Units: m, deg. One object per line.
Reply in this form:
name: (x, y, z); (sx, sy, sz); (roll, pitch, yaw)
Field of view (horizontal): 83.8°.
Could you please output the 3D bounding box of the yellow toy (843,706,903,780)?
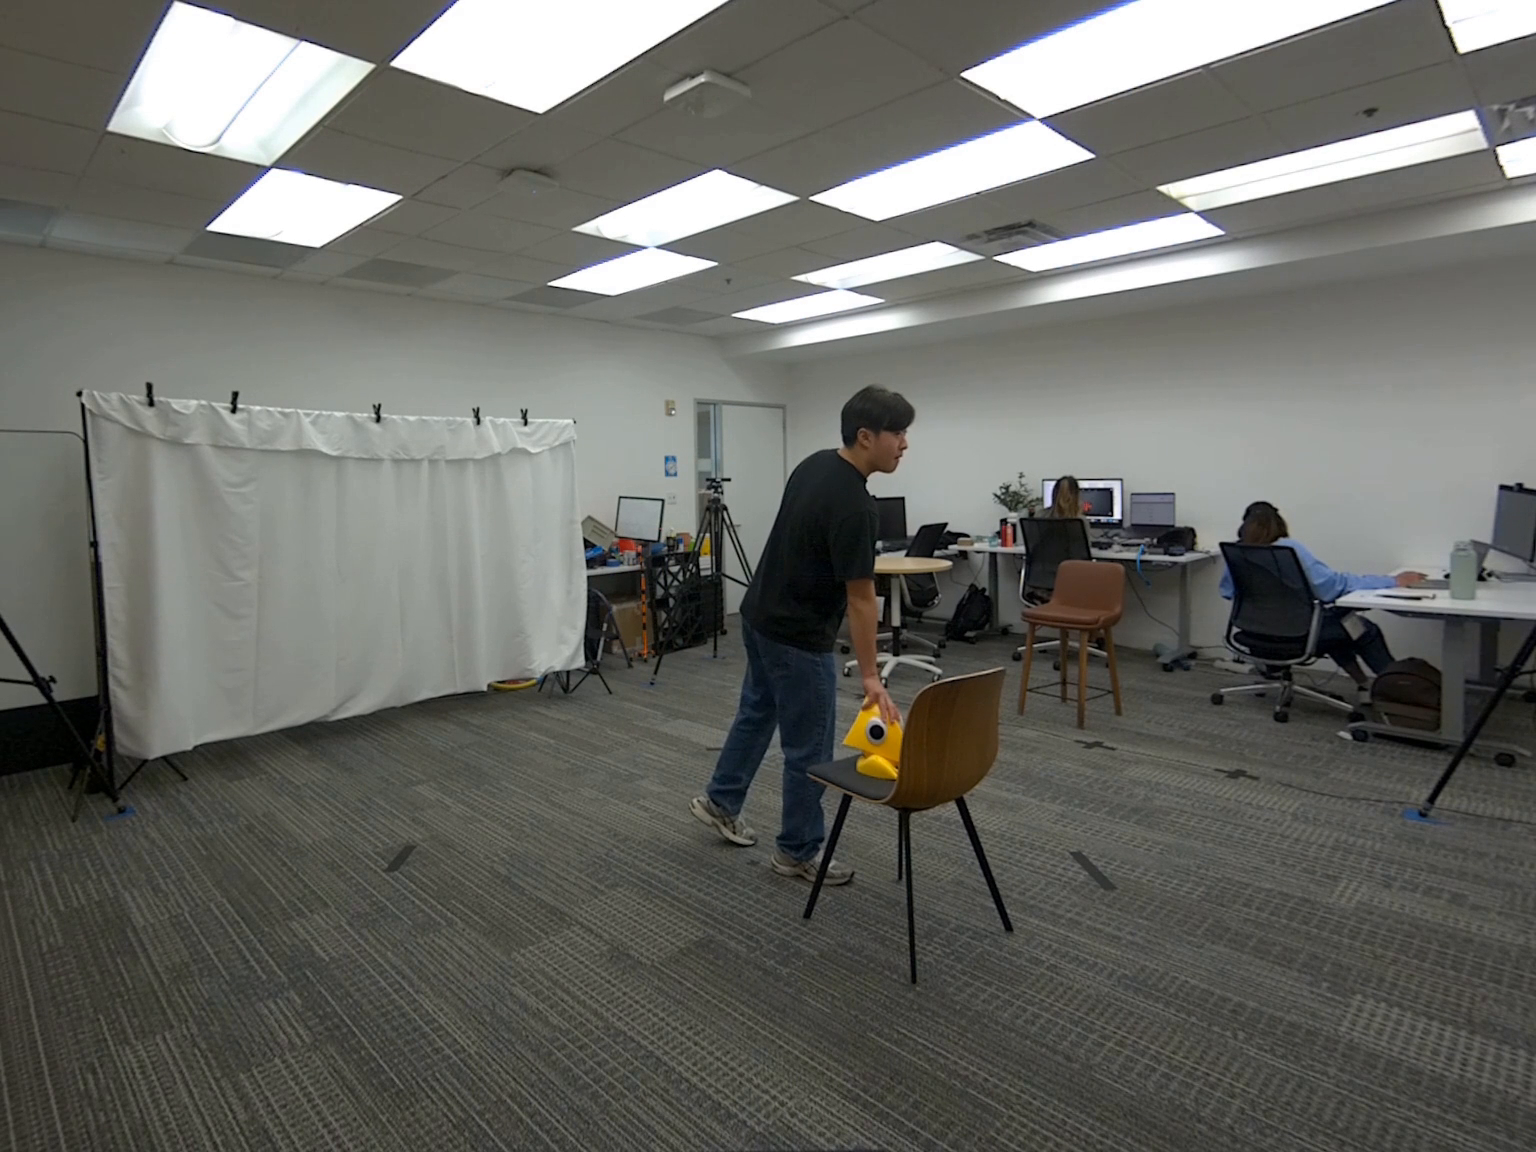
yellow toy: (0.374, 0.490, 2.687); (0.199, 0.229, 0.200); (4, 9, 43)
